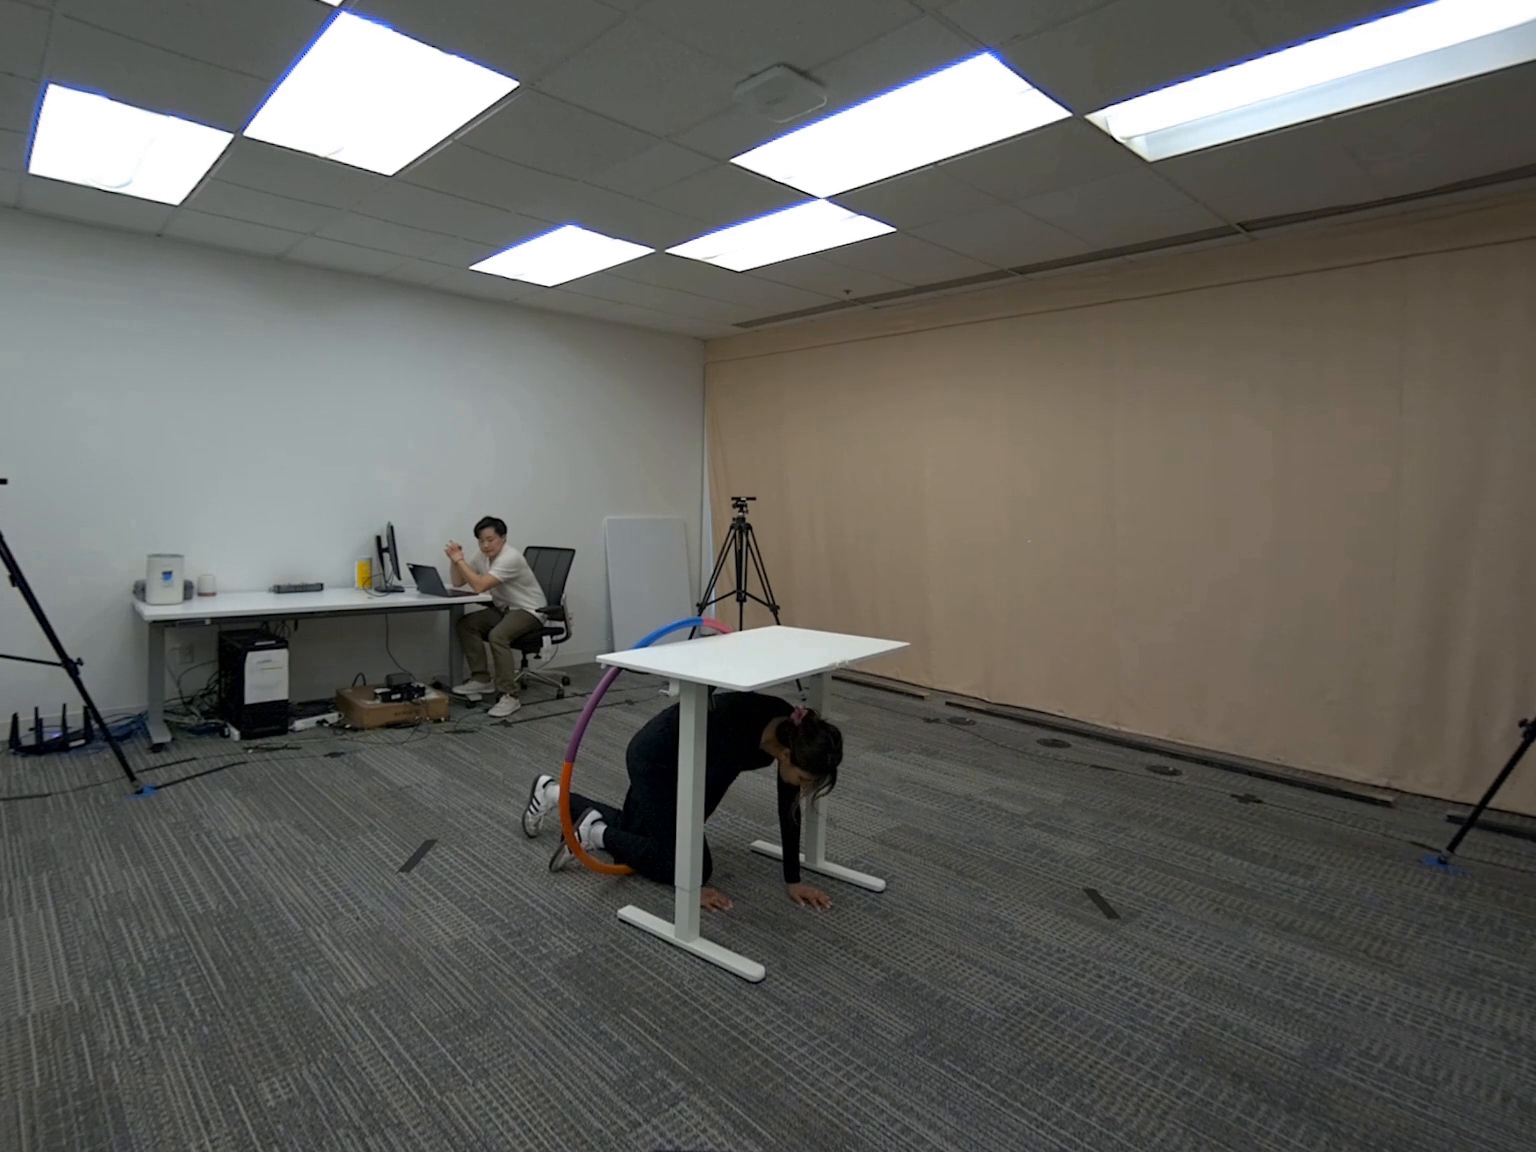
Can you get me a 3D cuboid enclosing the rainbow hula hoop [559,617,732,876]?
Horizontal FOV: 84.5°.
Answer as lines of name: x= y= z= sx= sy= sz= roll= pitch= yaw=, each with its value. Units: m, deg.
rainbow hula hoop: x=-0.369 y=0.621 z=3.088 sx=0.036 sy=0.972 sz=0.957 roll=18 pitch=13 yaw=34
